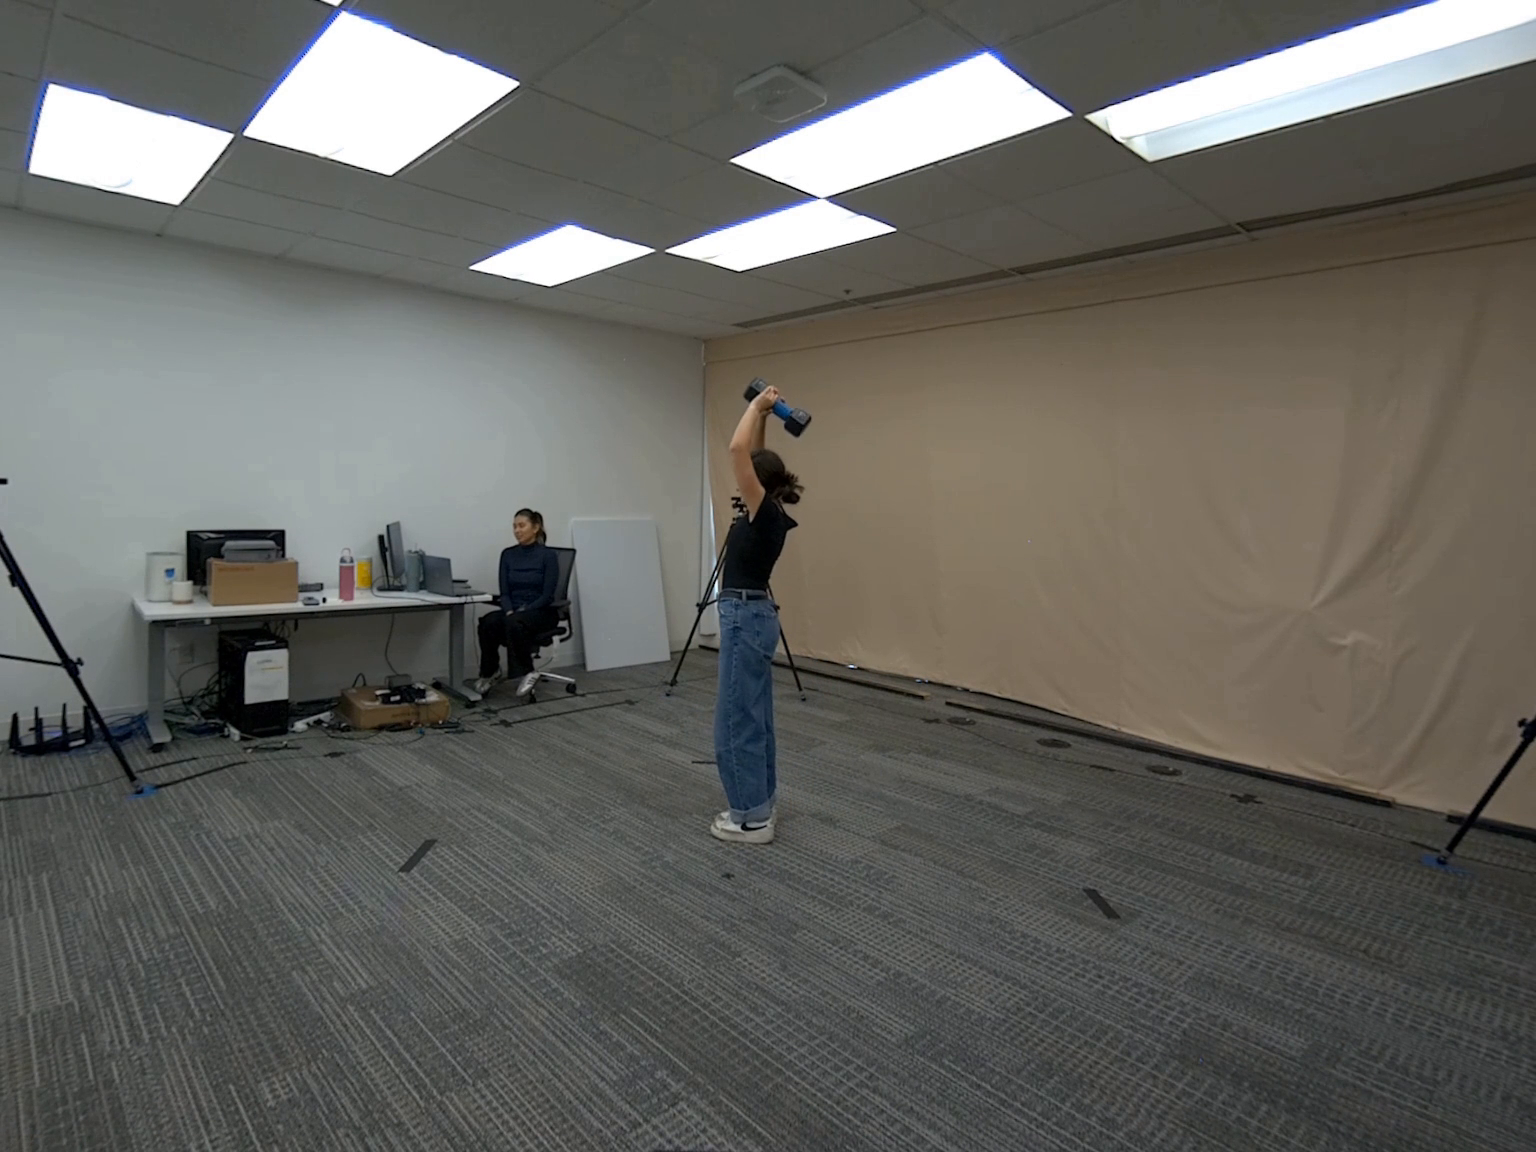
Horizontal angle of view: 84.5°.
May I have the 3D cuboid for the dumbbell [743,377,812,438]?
[{"bbox_3d":[0.033,-0.698,3.509,0.295,0.122,0.108,37,37,6],"label":"dumbbell"}]
